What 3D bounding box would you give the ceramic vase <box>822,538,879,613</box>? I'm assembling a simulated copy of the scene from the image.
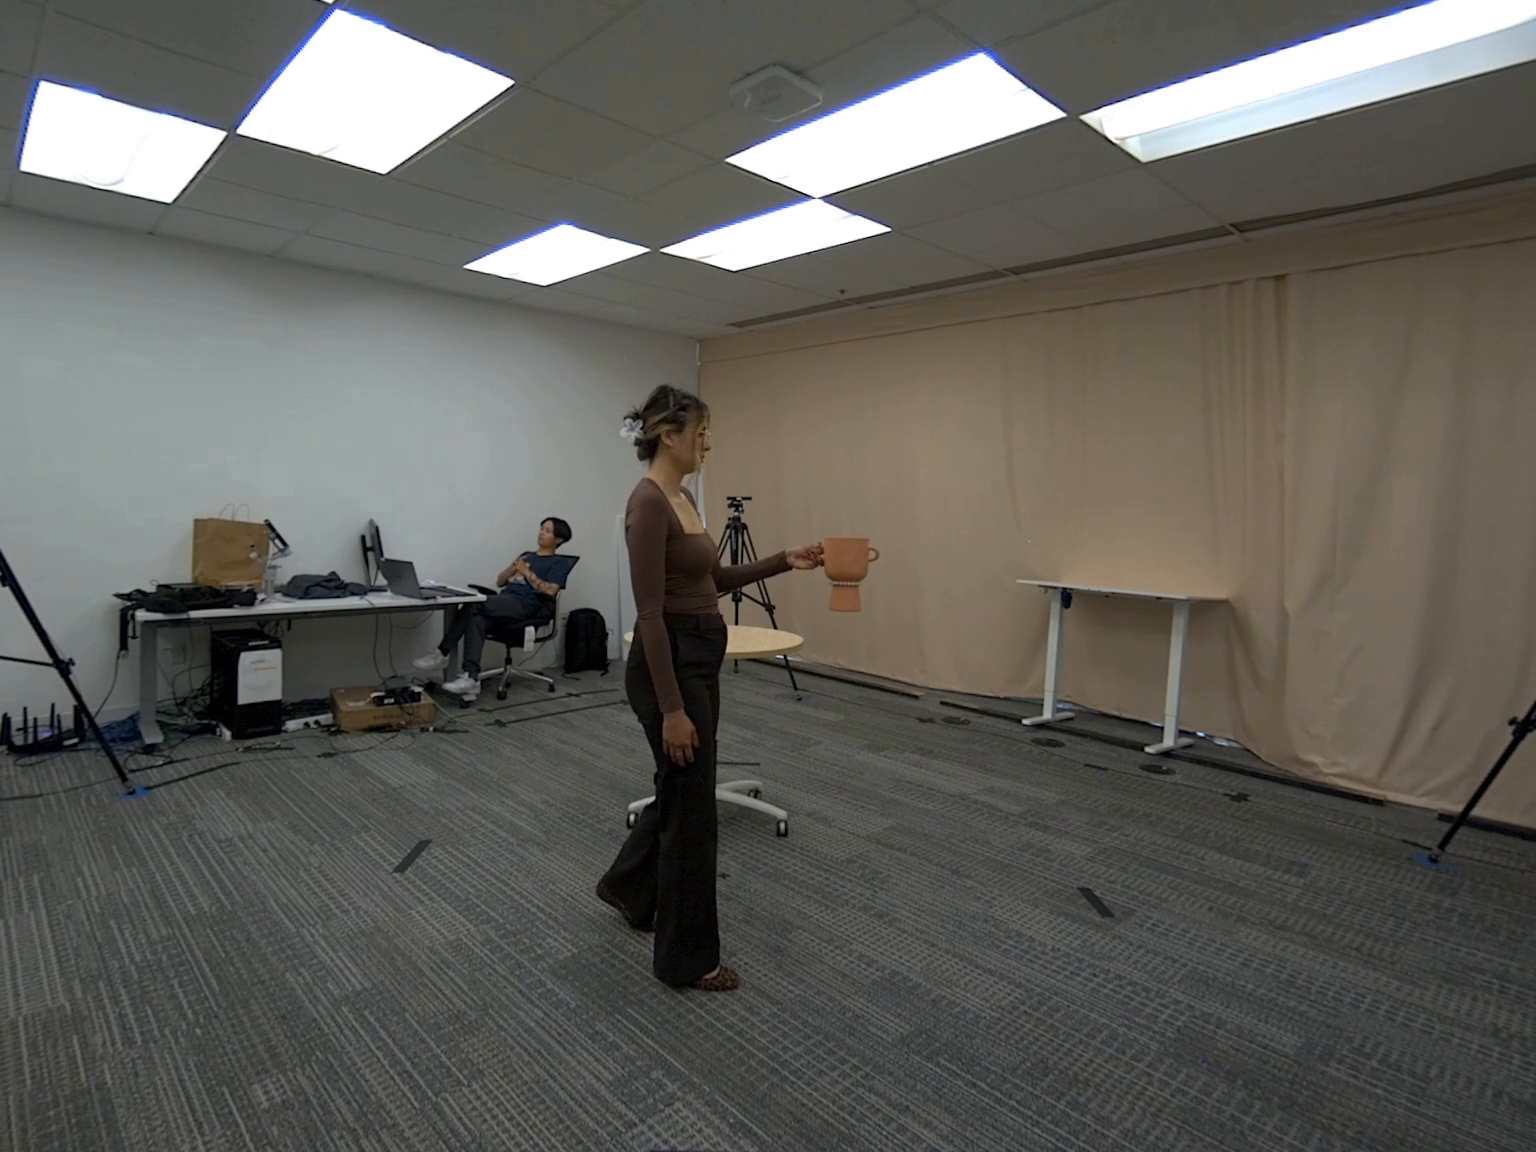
[{"bbox_3d":[0.224,-0.005,2.537,0.132,0.219,0.163,0,5,-33],"label":"ceramic vase"}]
